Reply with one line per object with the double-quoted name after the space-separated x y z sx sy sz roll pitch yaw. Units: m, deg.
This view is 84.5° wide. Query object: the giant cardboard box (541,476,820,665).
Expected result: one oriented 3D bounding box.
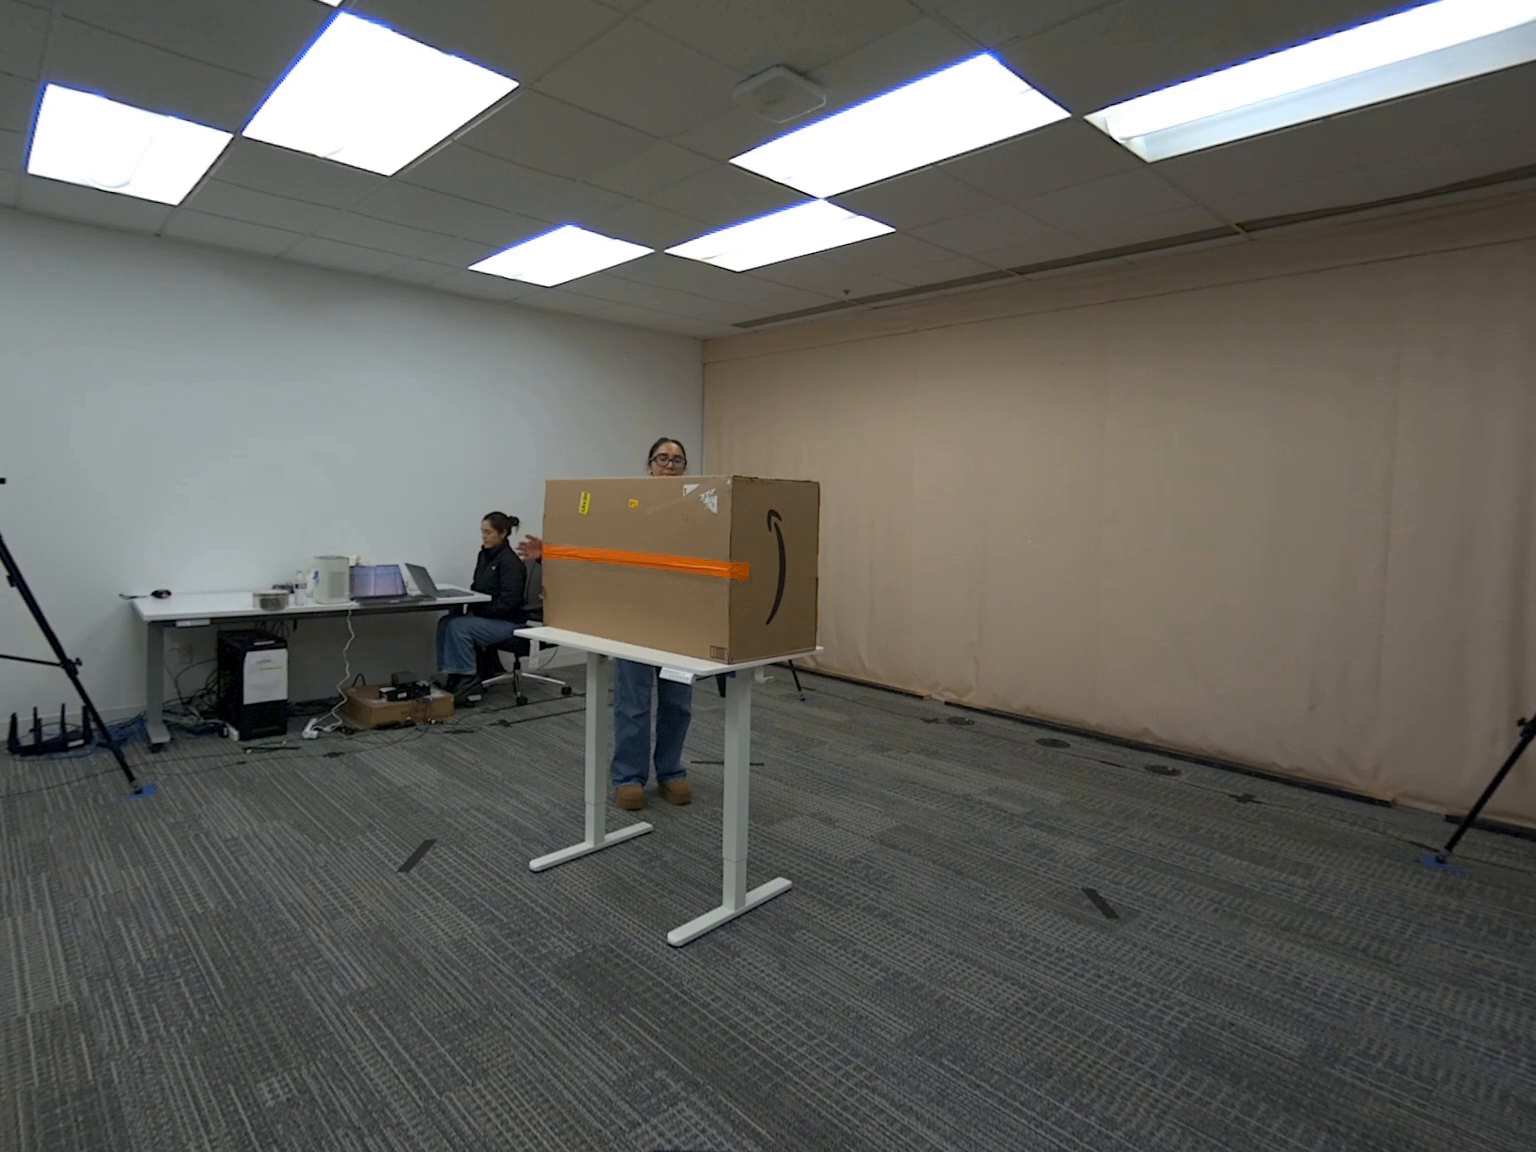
-0.355 -0.059 3.050 1.052 0.576 0.416 5 4 43 "giant cardboard box"
